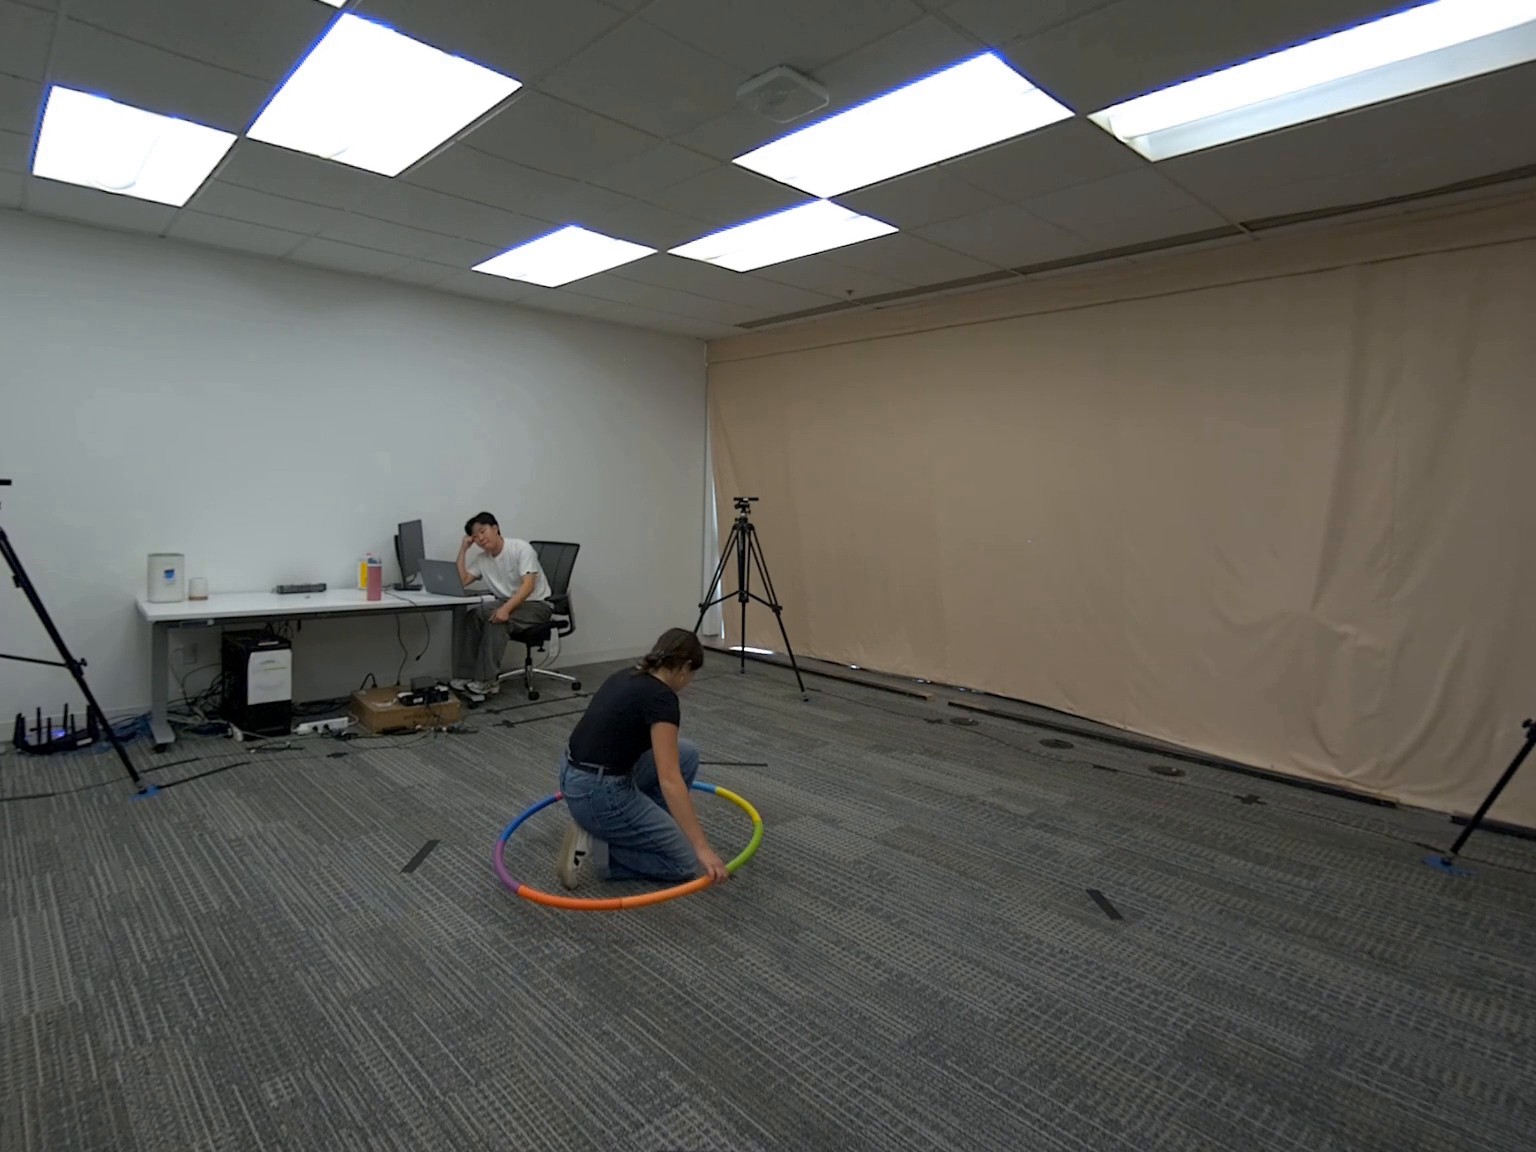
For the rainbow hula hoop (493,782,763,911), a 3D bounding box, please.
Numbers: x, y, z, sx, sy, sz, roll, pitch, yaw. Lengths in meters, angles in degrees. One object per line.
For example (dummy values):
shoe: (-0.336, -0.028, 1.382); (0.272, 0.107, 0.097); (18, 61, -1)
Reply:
rainbow hula hoop: (-0.519, 0.953, 3.117); (0.978, 0.035, 0.985); (-2, 9, -1)
